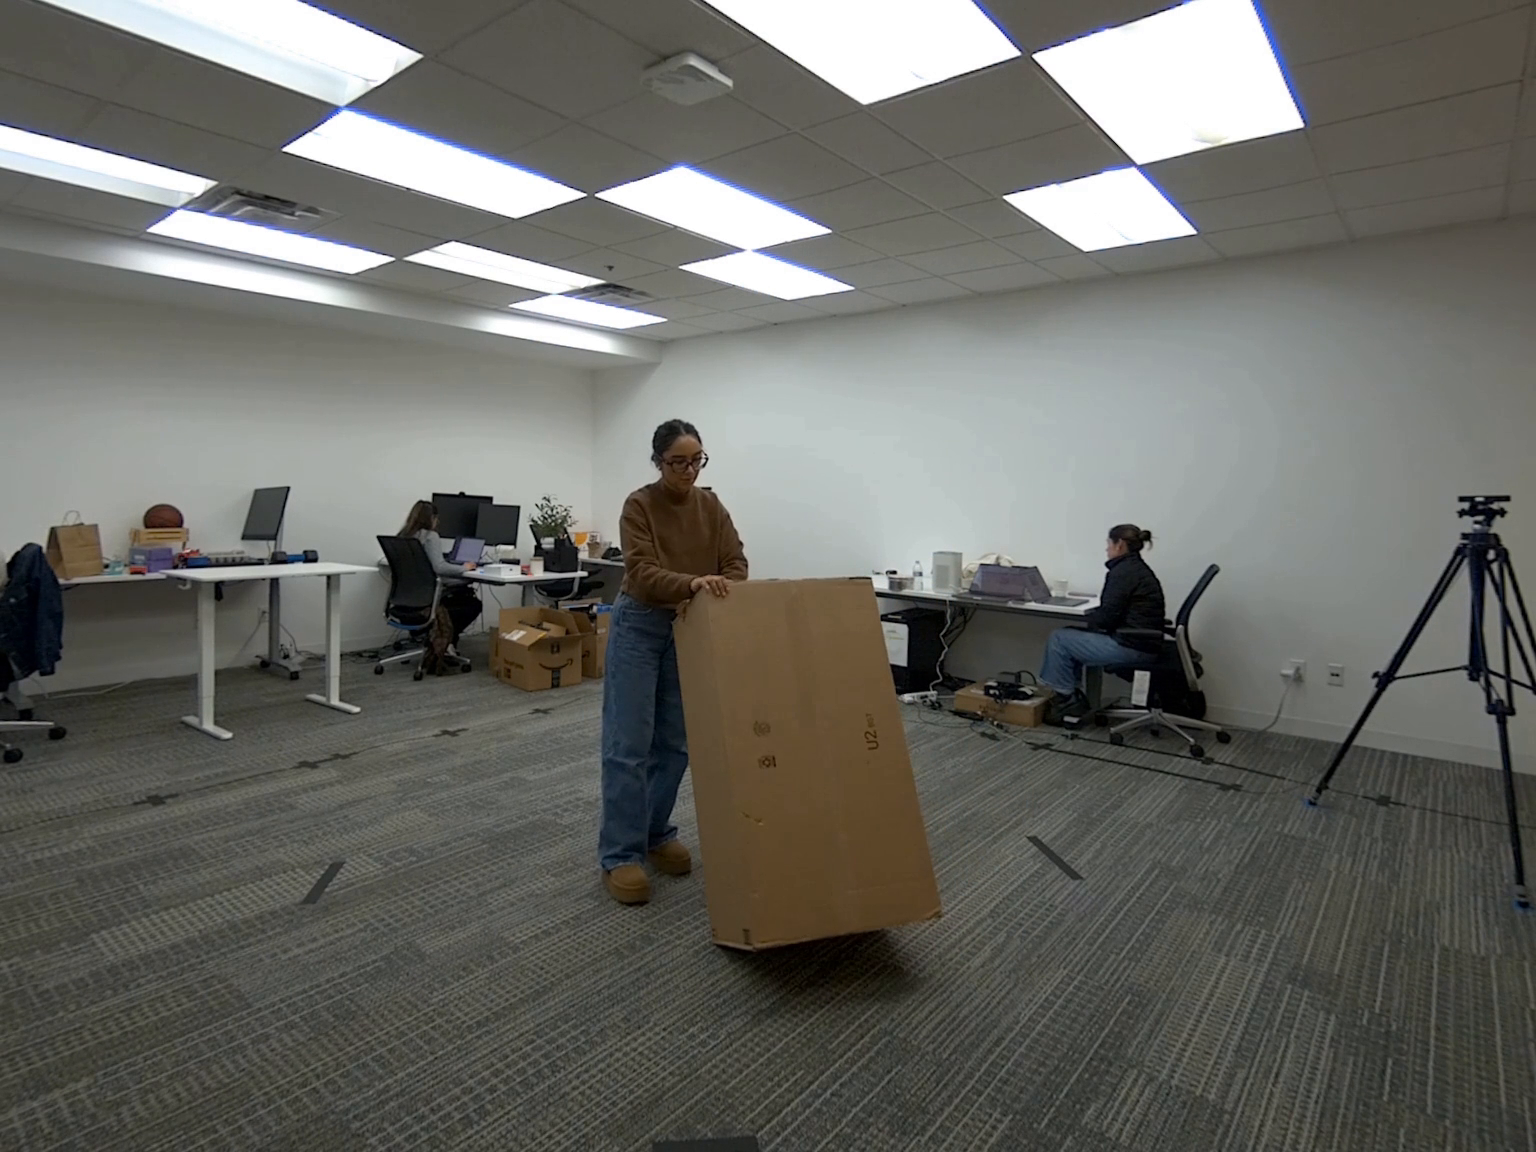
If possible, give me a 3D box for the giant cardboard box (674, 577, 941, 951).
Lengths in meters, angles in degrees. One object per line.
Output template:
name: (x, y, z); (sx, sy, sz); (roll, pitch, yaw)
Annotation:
giant cardboard box: (0.078, 0.563, 2.687); (0.572, 1.049, 0.446); (-2, -20, -21)
